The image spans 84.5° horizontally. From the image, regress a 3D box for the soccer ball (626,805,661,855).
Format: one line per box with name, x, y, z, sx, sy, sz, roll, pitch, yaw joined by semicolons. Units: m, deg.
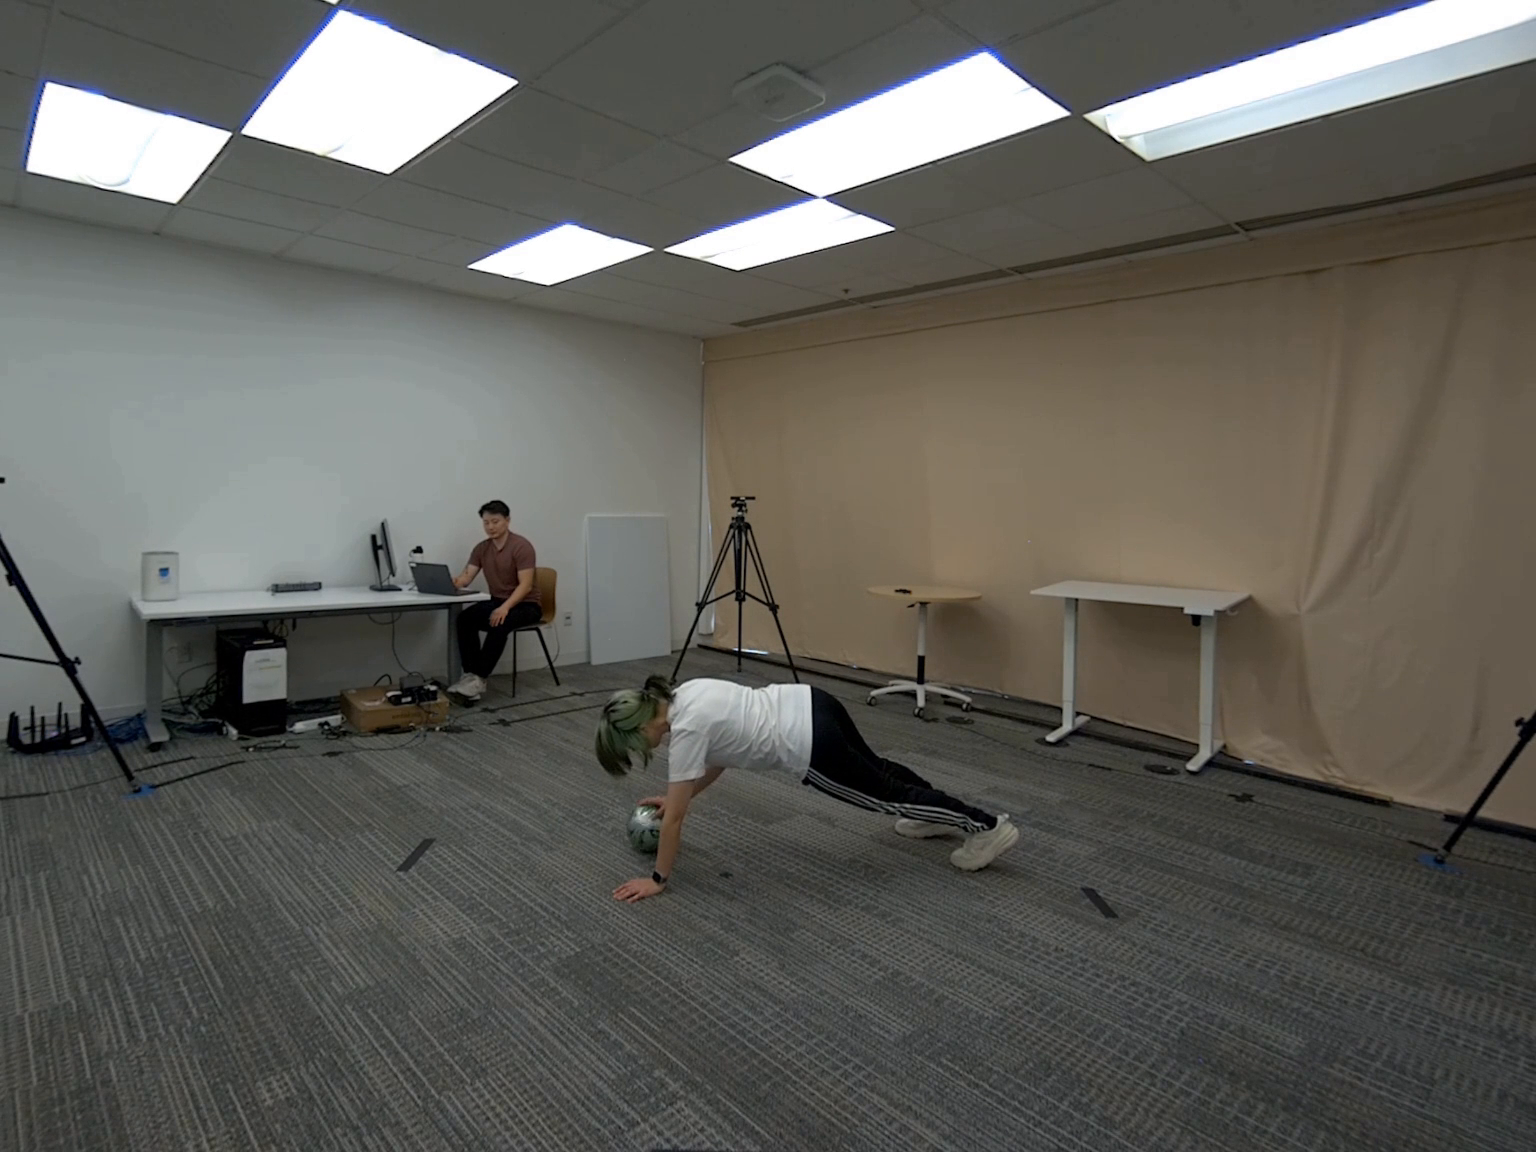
soccer ball;-0.465;0.979;3.318;0.187;0.187;0.188;1;4;-1
